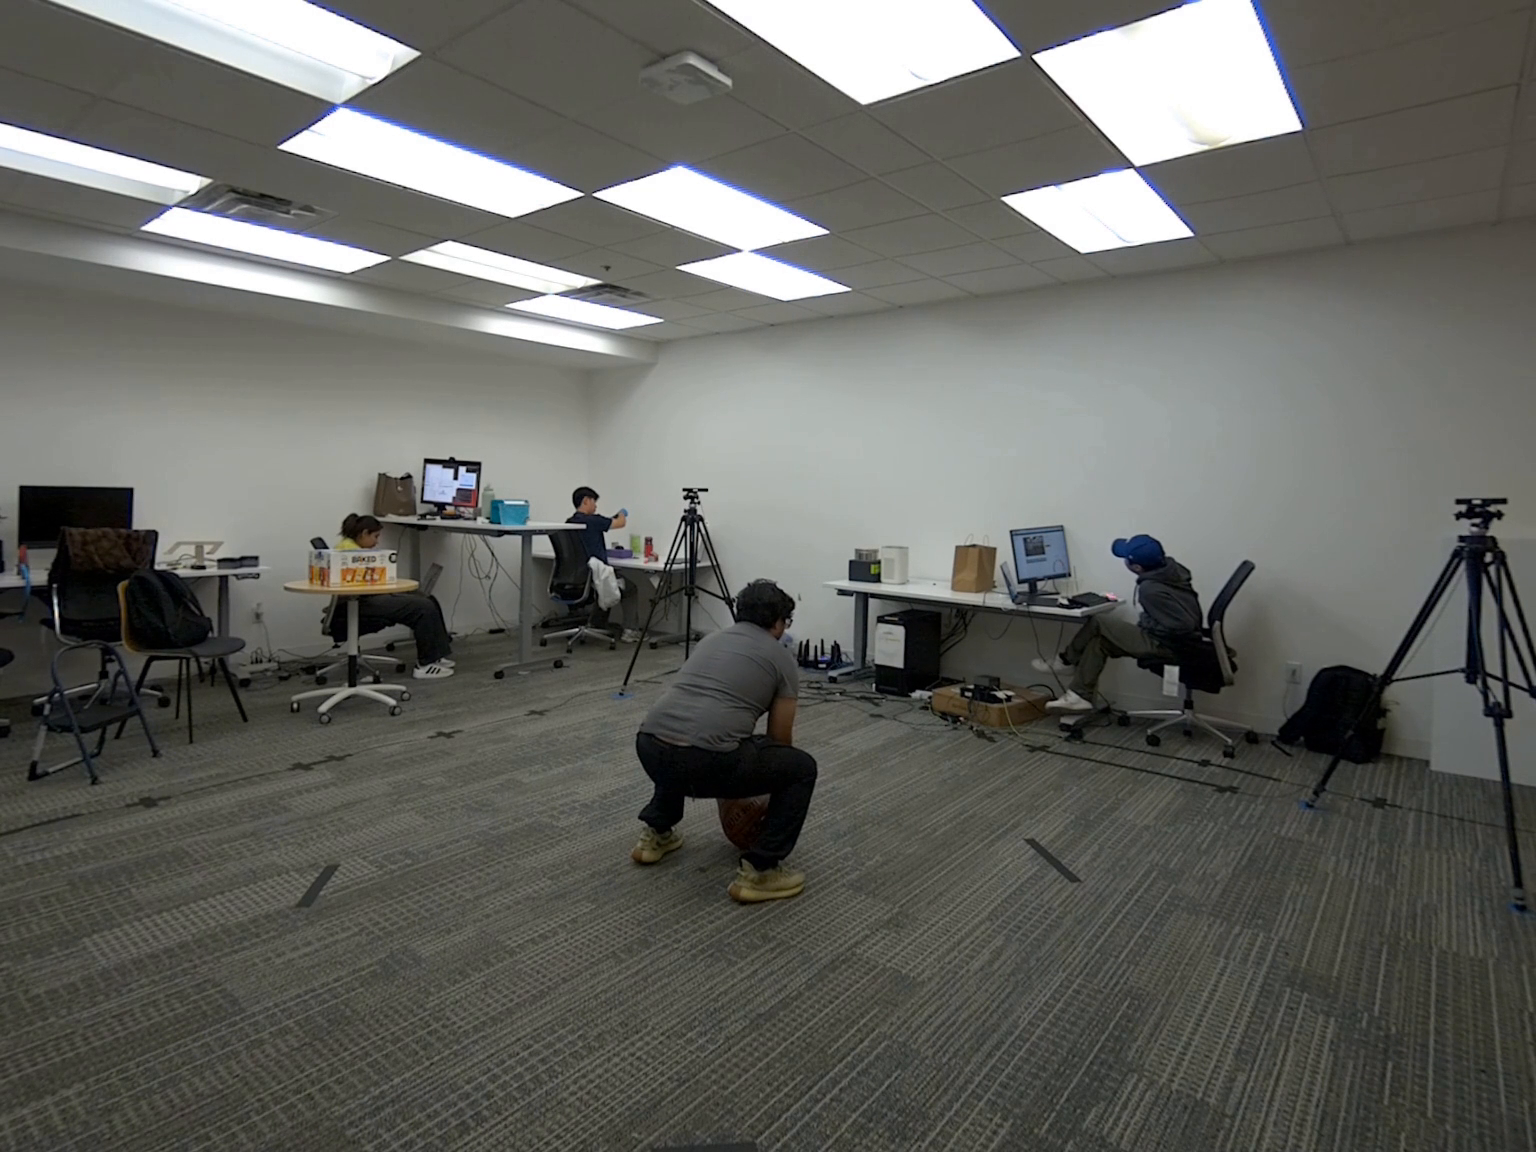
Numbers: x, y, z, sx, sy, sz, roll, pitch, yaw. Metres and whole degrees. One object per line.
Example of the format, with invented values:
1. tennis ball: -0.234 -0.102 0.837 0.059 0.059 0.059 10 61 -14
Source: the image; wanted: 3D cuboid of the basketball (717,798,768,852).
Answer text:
1. basketball: -0.068 0.934 3.299 0.235 0.235 0.237 1 4 -2
